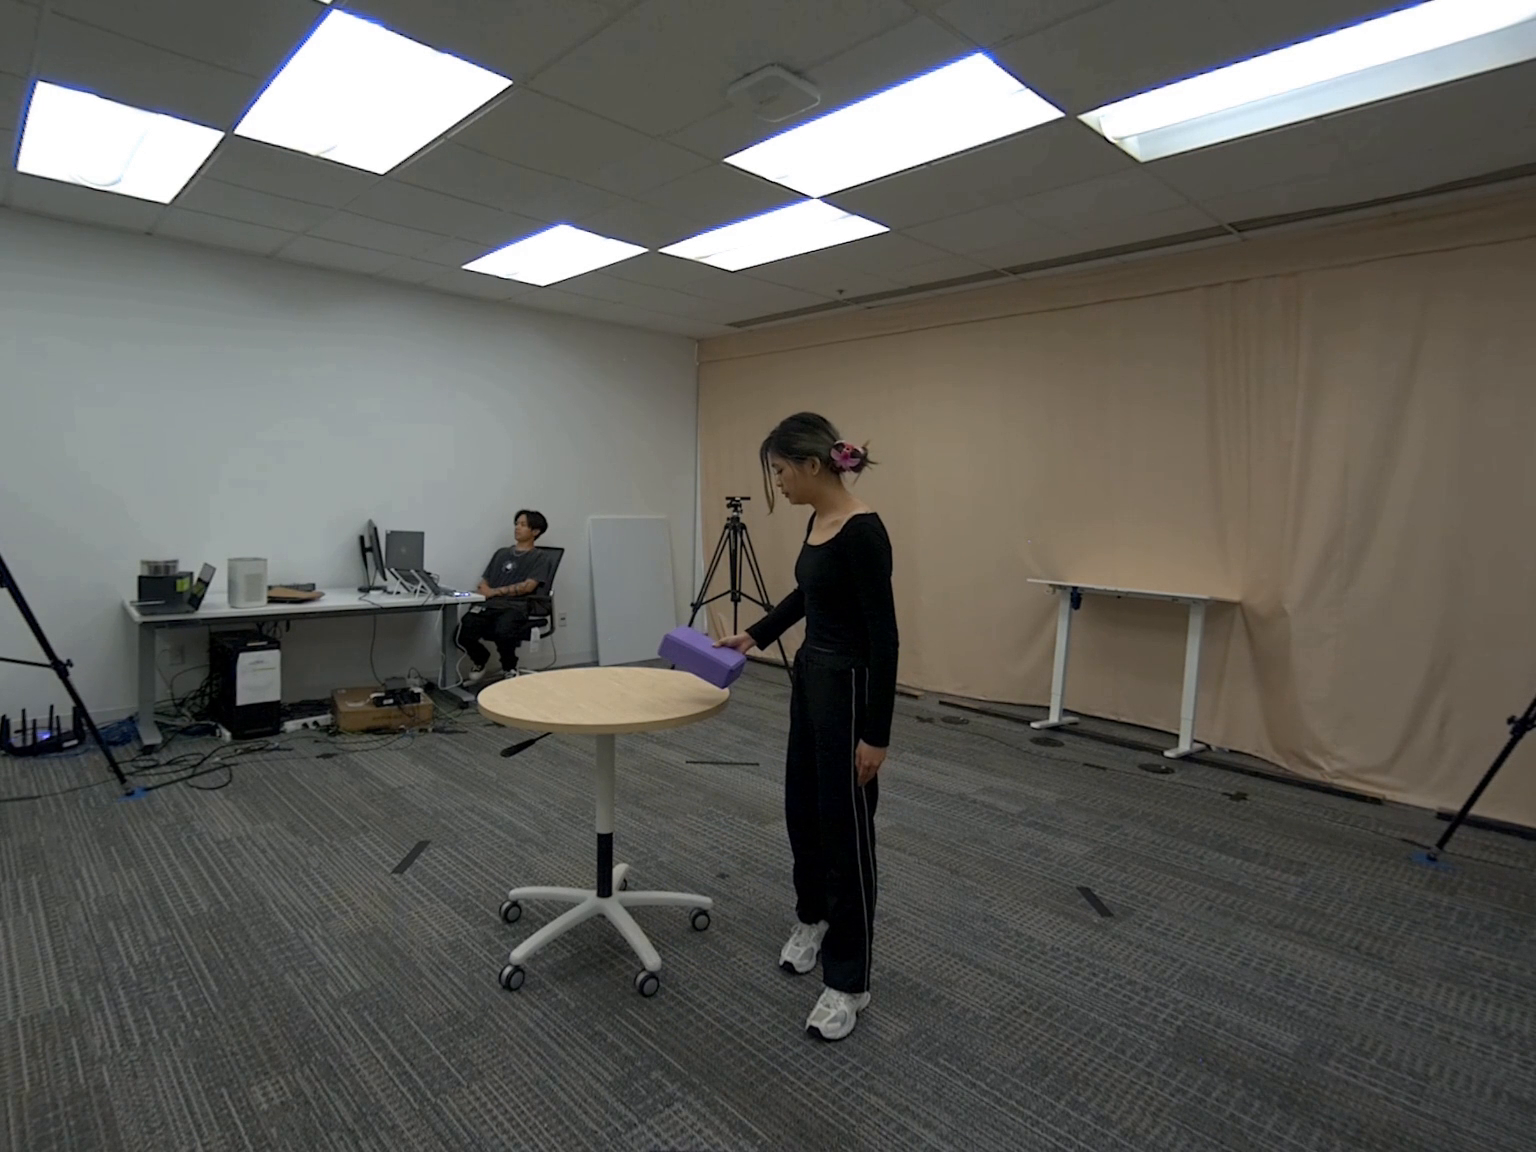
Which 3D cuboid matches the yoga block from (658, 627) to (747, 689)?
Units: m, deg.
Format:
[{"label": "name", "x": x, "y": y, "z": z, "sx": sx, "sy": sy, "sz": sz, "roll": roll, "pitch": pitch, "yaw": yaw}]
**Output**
[{"label": "yoga block", "x": -0.185, "y": 0.231, "z": 2.475, "sx": 0.232, "sy": 0.076, "sz": 0.148, "roll": 22, "pitch": 10, "yaw": 10}]
